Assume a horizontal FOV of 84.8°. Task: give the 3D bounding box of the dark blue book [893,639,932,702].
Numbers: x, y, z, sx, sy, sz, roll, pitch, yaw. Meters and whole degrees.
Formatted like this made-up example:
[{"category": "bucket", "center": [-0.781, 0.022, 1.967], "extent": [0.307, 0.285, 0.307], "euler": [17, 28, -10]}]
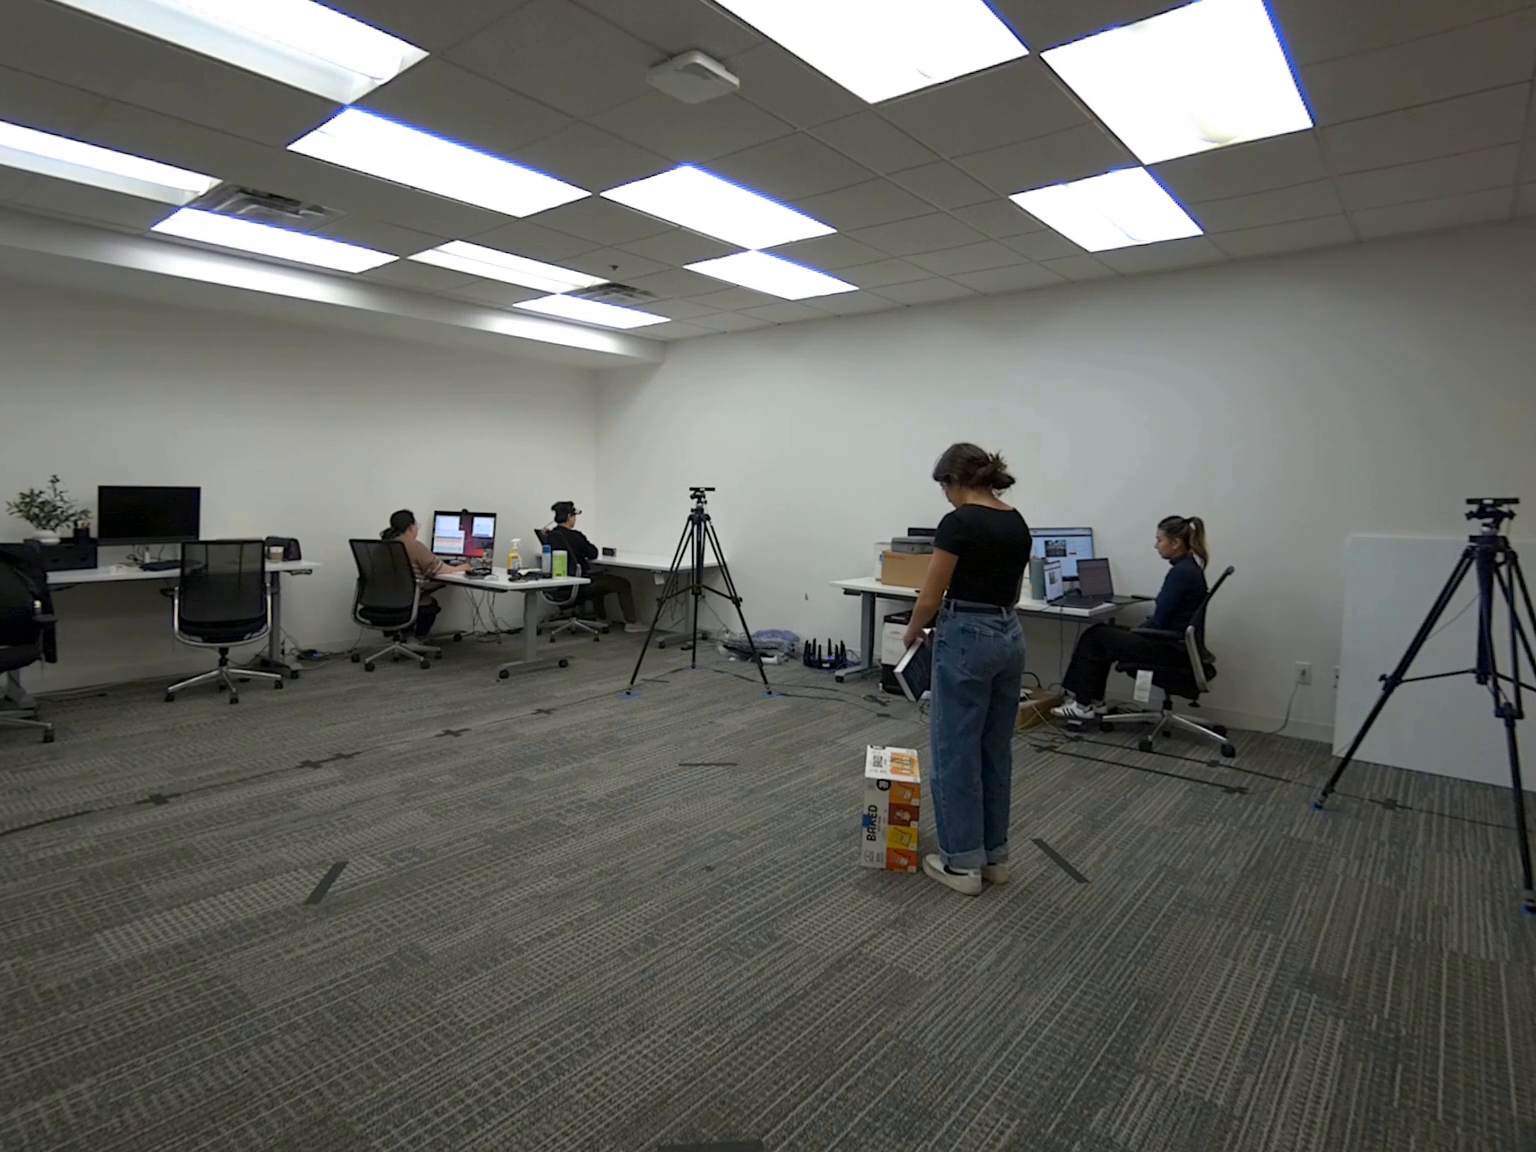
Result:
[{"category": "dark blue book", "center": [0.578, 0.338, 3.250], "extent": [0.047, 0.158, 0.245], "euler": [6, 45, 50]}]
